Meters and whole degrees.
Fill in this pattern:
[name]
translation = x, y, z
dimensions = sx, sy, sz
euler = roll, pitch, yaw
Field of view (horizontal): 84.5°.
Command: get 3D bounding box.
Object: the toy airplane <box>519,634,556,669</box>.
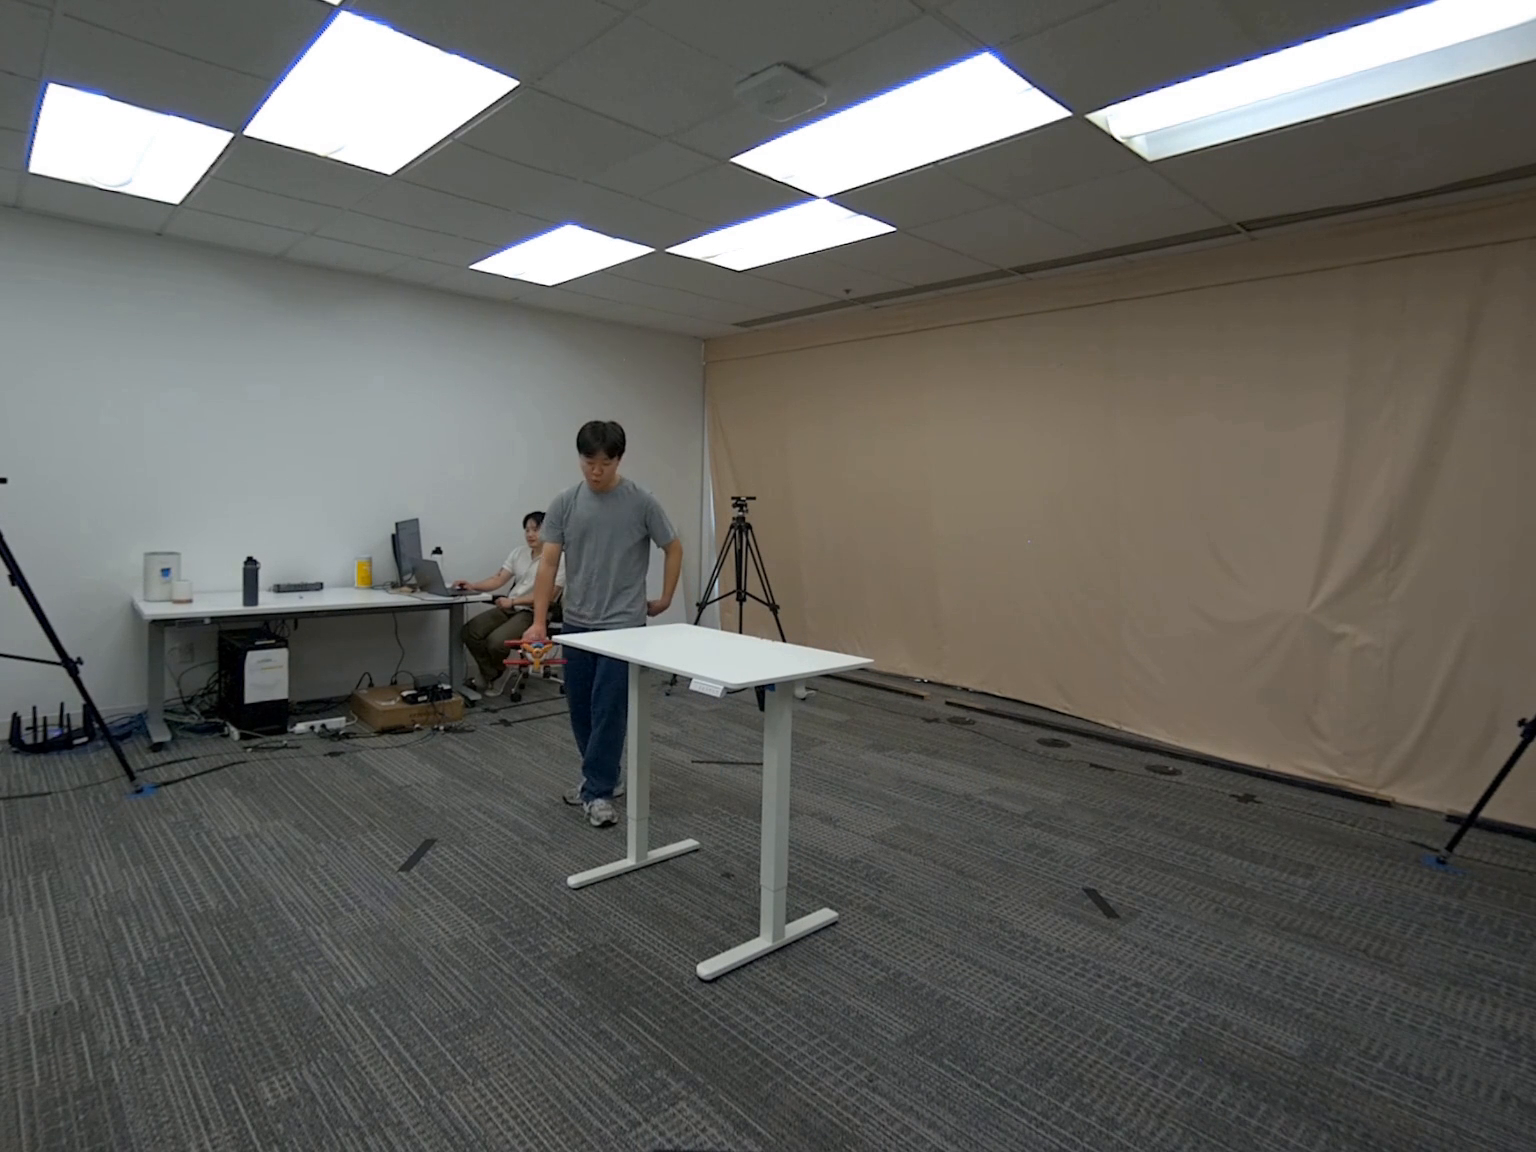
[toy airplane]
translation = -0.978, 0.322, 3.478
dimensions = 0.266, 0.156, 0.245
euler = 12, 11, 44
